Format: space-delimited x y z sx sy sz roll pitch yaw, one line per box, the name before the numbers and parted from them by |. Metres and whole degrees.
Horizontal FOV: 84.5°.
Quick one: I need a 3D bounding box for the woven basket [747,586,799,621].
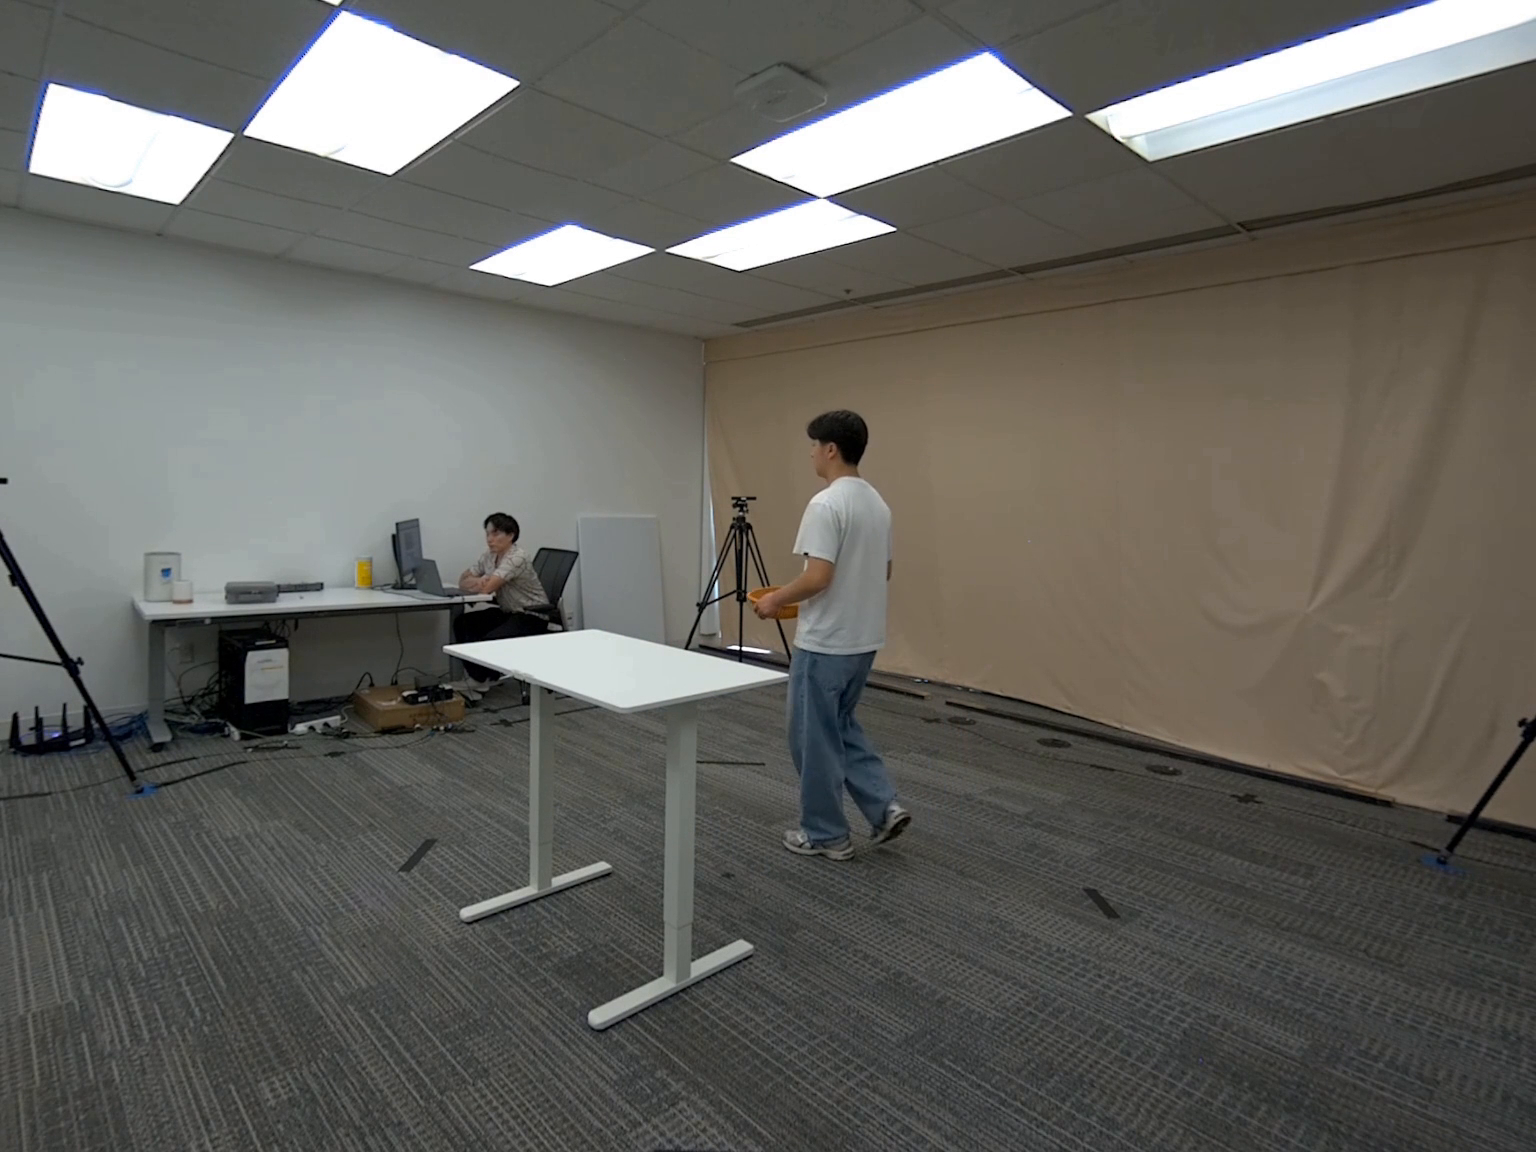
woven basket | 0.097 0.123 3.426 0.343 0.073 0.260 -6 15 -41
